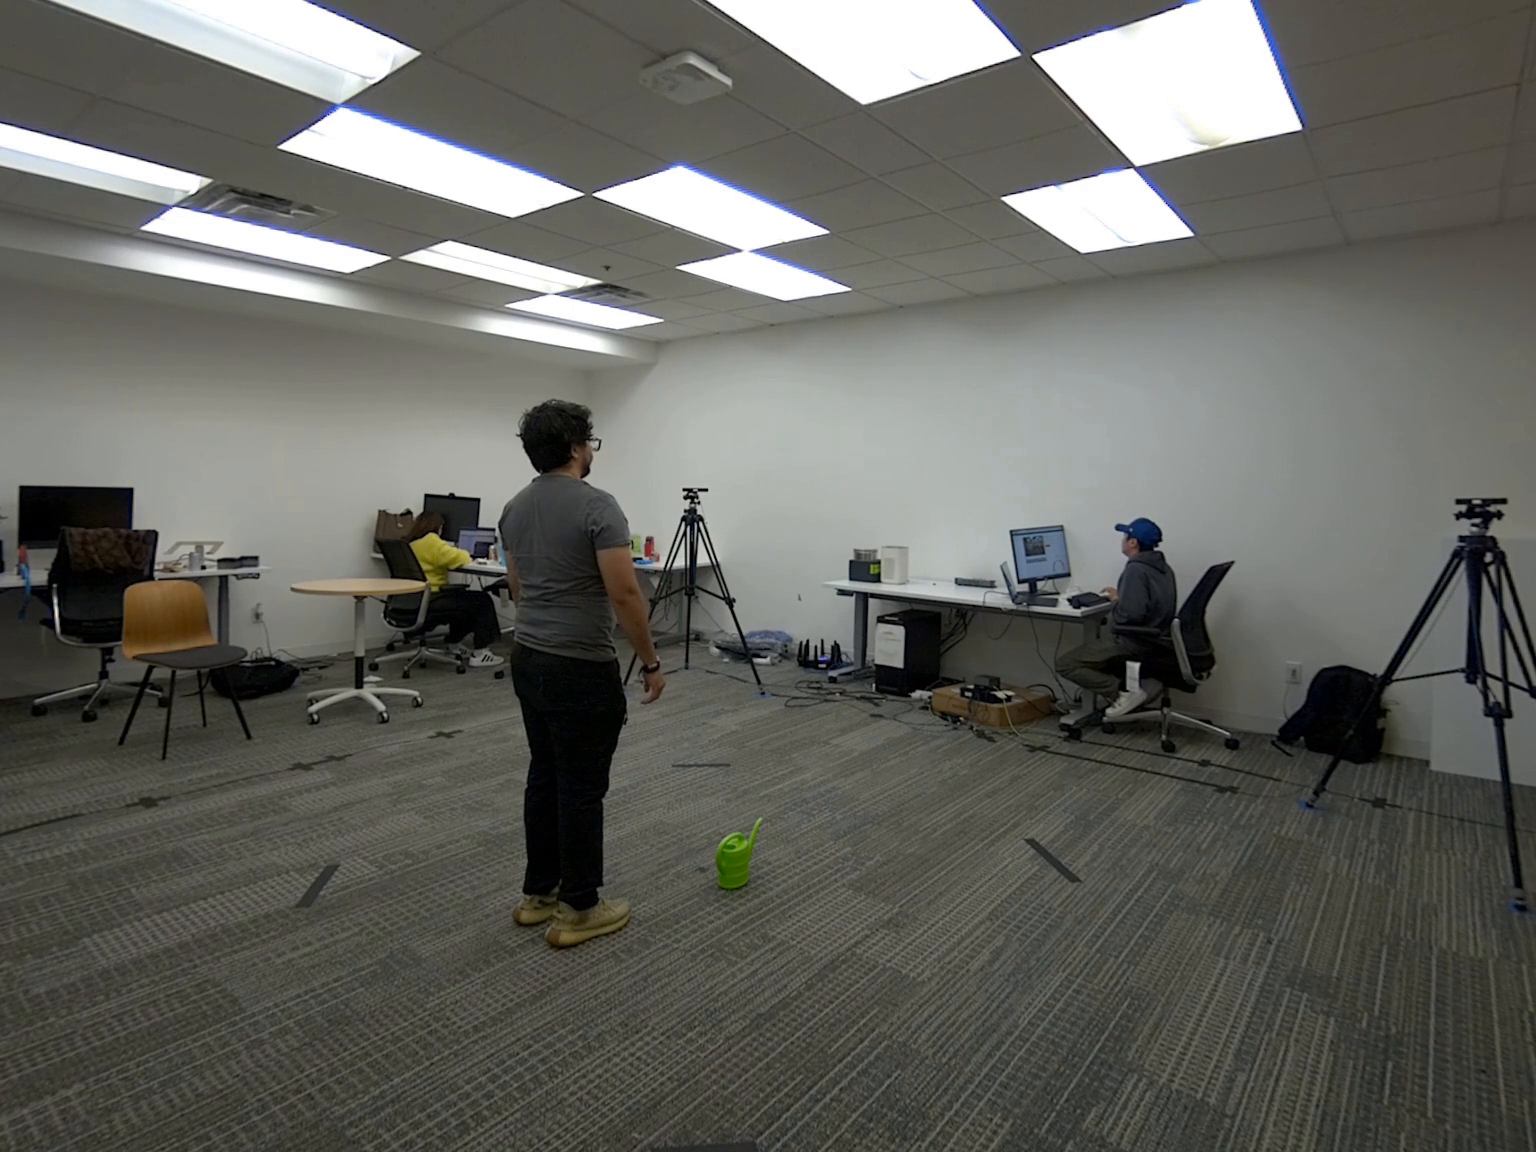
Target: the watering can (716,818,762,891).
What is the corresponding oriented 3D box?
[{"bbox_3d":[-0.097,0.987,3.030,0.270,0.176,0.101,-6,8,-41],"label":"watering can"}]
